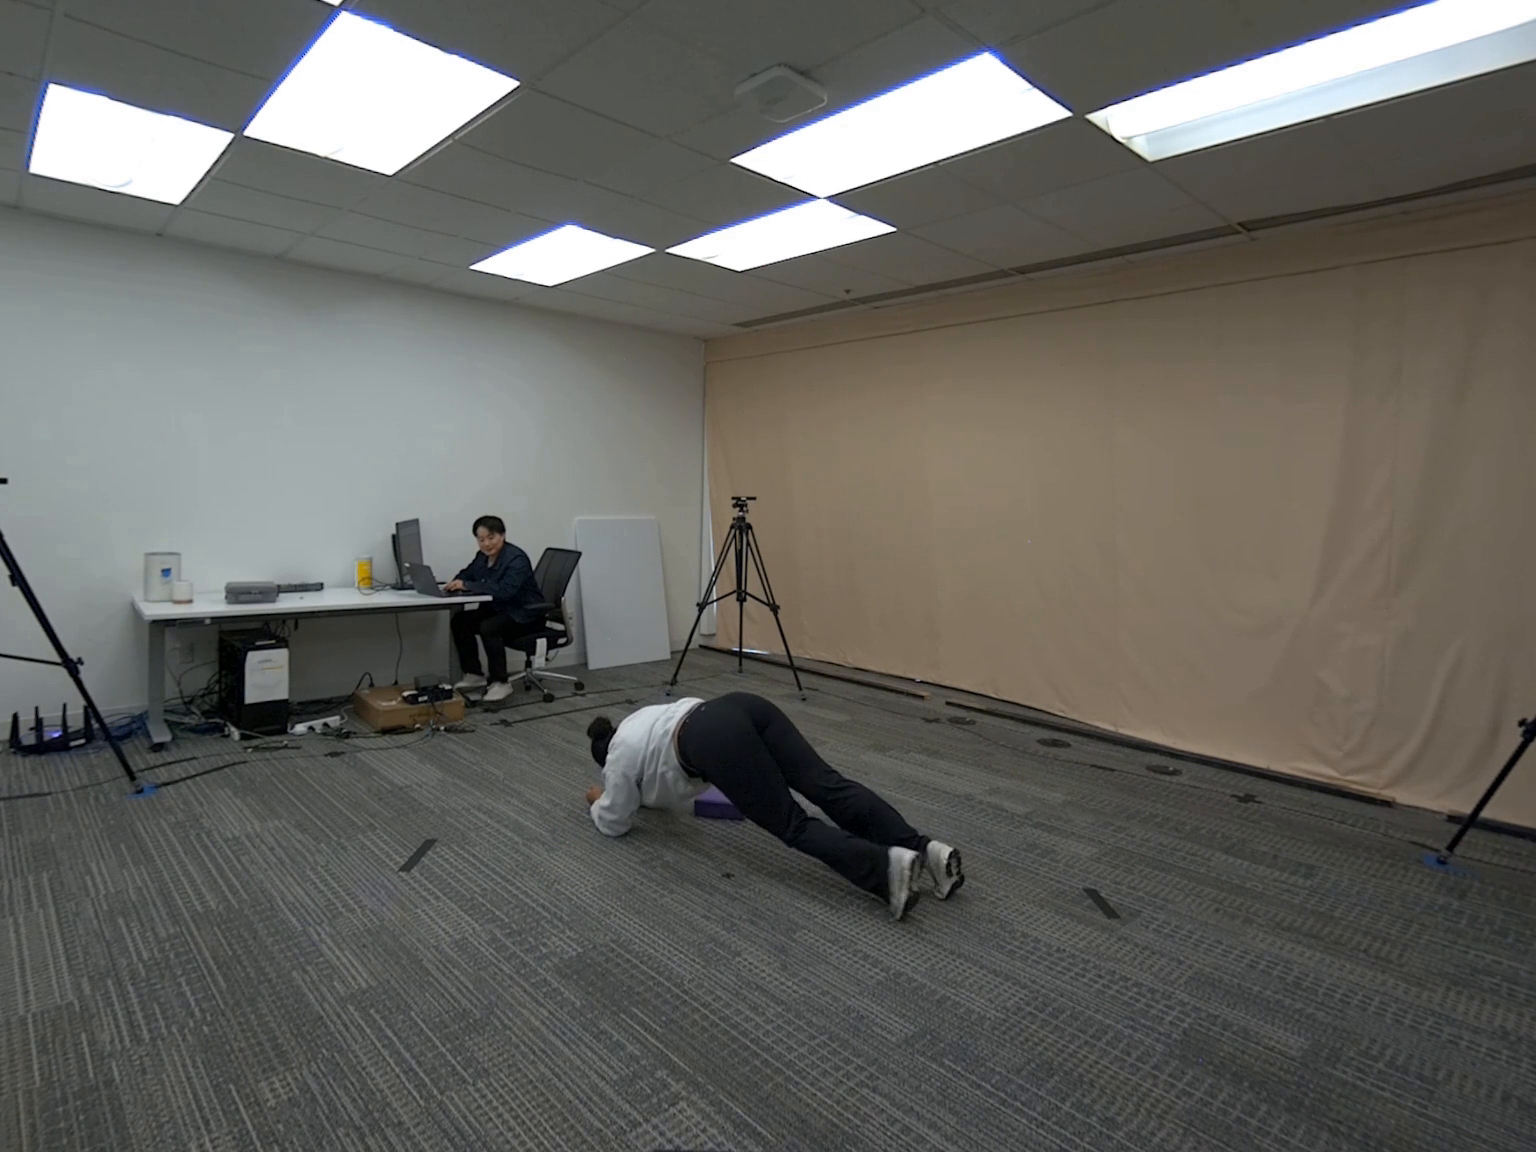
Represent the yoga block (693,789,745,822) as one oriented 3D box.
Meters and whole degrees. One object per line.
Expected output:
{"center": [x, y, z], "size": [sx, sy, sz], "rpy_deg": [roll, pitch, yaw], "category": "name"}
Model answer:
{"center": [-0.214, 1.010, 3.731], "size": [0.231, 0.076, 0.148], "rpy_deg": [2, 6, 10], "category": "yoga block"}
